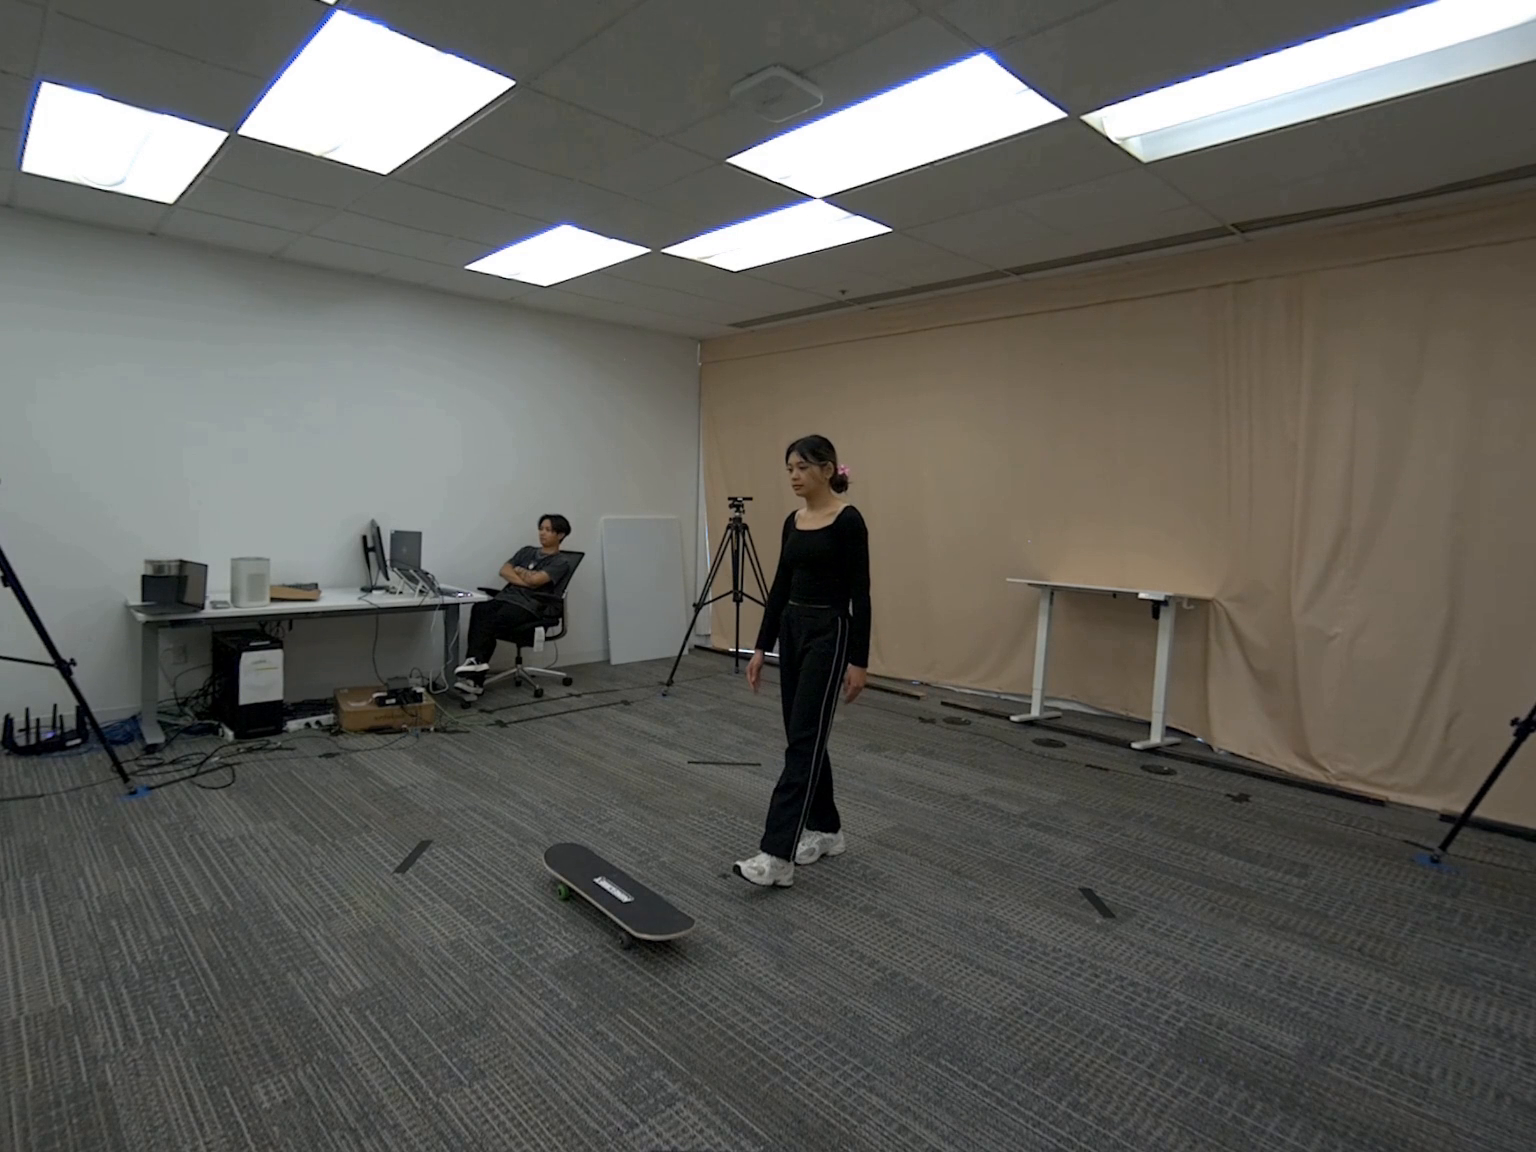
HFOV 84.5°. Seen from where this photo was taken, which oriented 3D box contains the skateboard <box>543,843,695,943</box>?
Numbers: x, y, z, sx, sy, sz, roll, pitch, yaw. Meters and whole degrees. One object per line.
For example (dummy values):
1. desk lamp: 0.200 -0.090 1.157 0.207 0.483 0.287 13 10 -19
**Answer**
1. skateboard: -0.525 1.073 2.790 0.189 0.110 0.806 -3 7 -40
